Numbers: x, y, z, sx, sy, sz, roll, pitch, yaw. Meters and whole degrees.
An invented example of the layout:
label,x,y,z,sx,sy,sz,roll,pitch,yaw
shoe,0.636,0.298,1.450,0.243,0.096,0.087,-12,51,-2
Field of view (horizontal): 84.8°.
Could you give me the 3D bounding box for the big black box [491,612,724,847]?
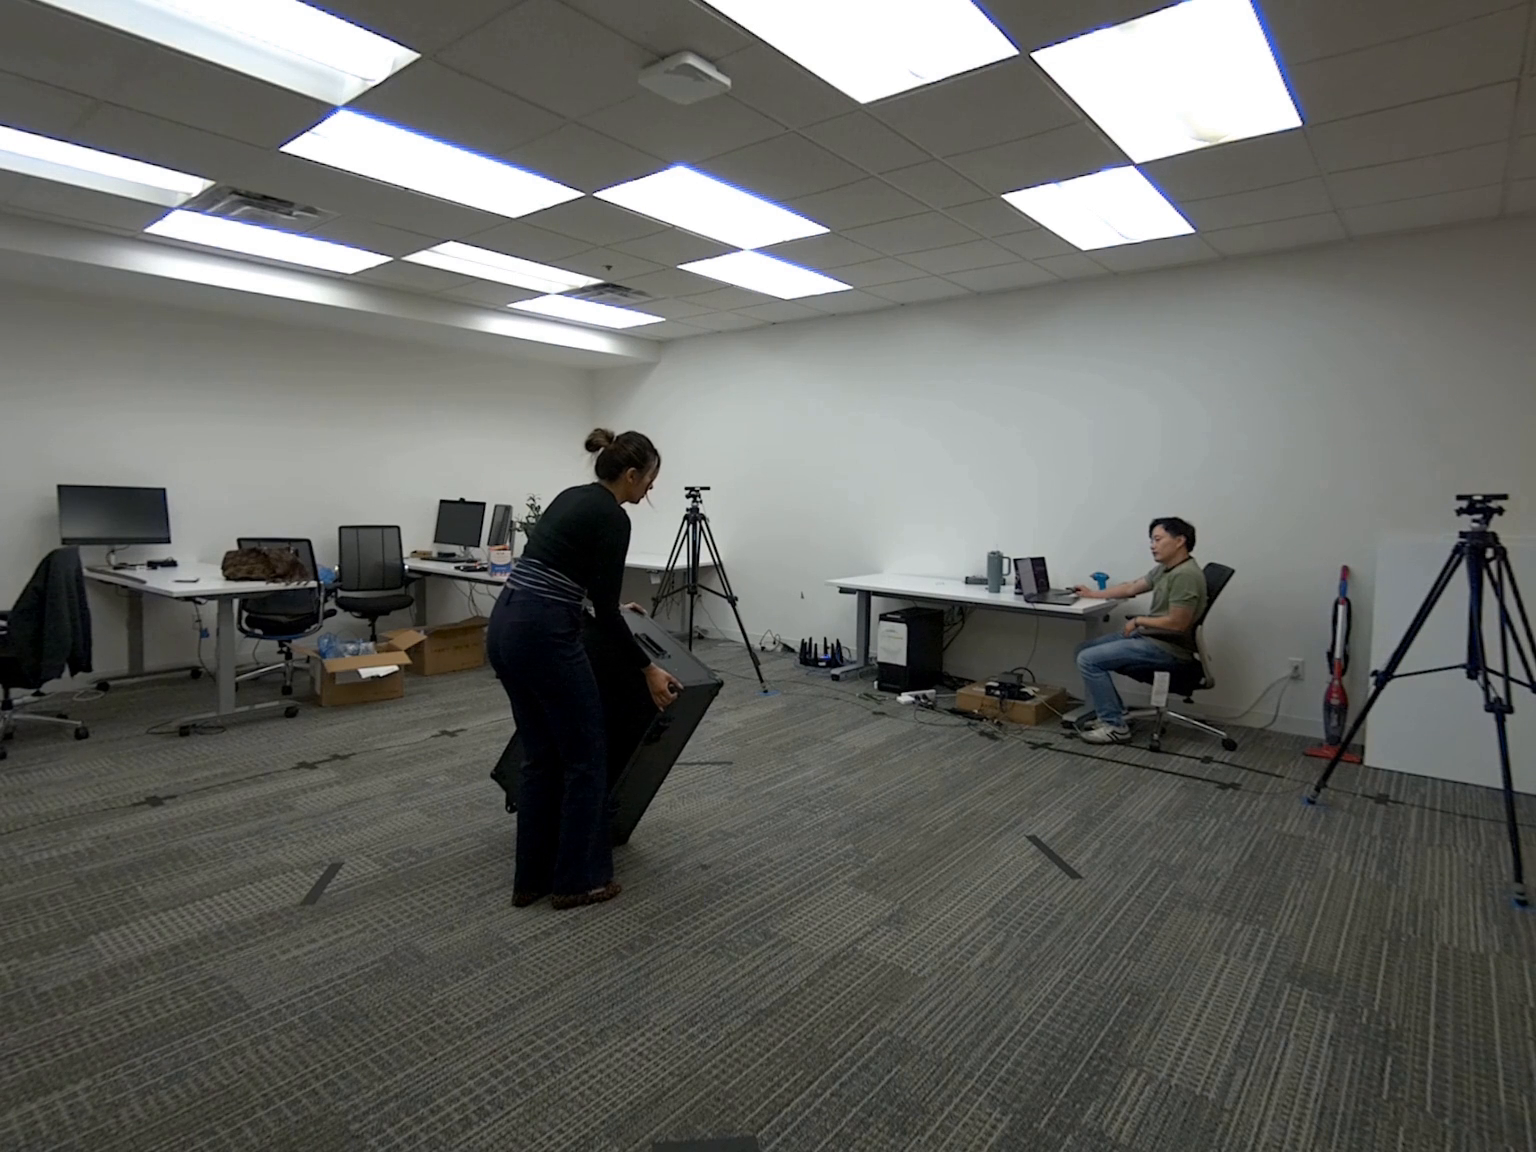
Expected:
label,x,y,z,sx,sy,sz,roll,pitch,yaw
big black box,-0.638,0.602,3.231,0.540,0.859,0.383,37,12,28
